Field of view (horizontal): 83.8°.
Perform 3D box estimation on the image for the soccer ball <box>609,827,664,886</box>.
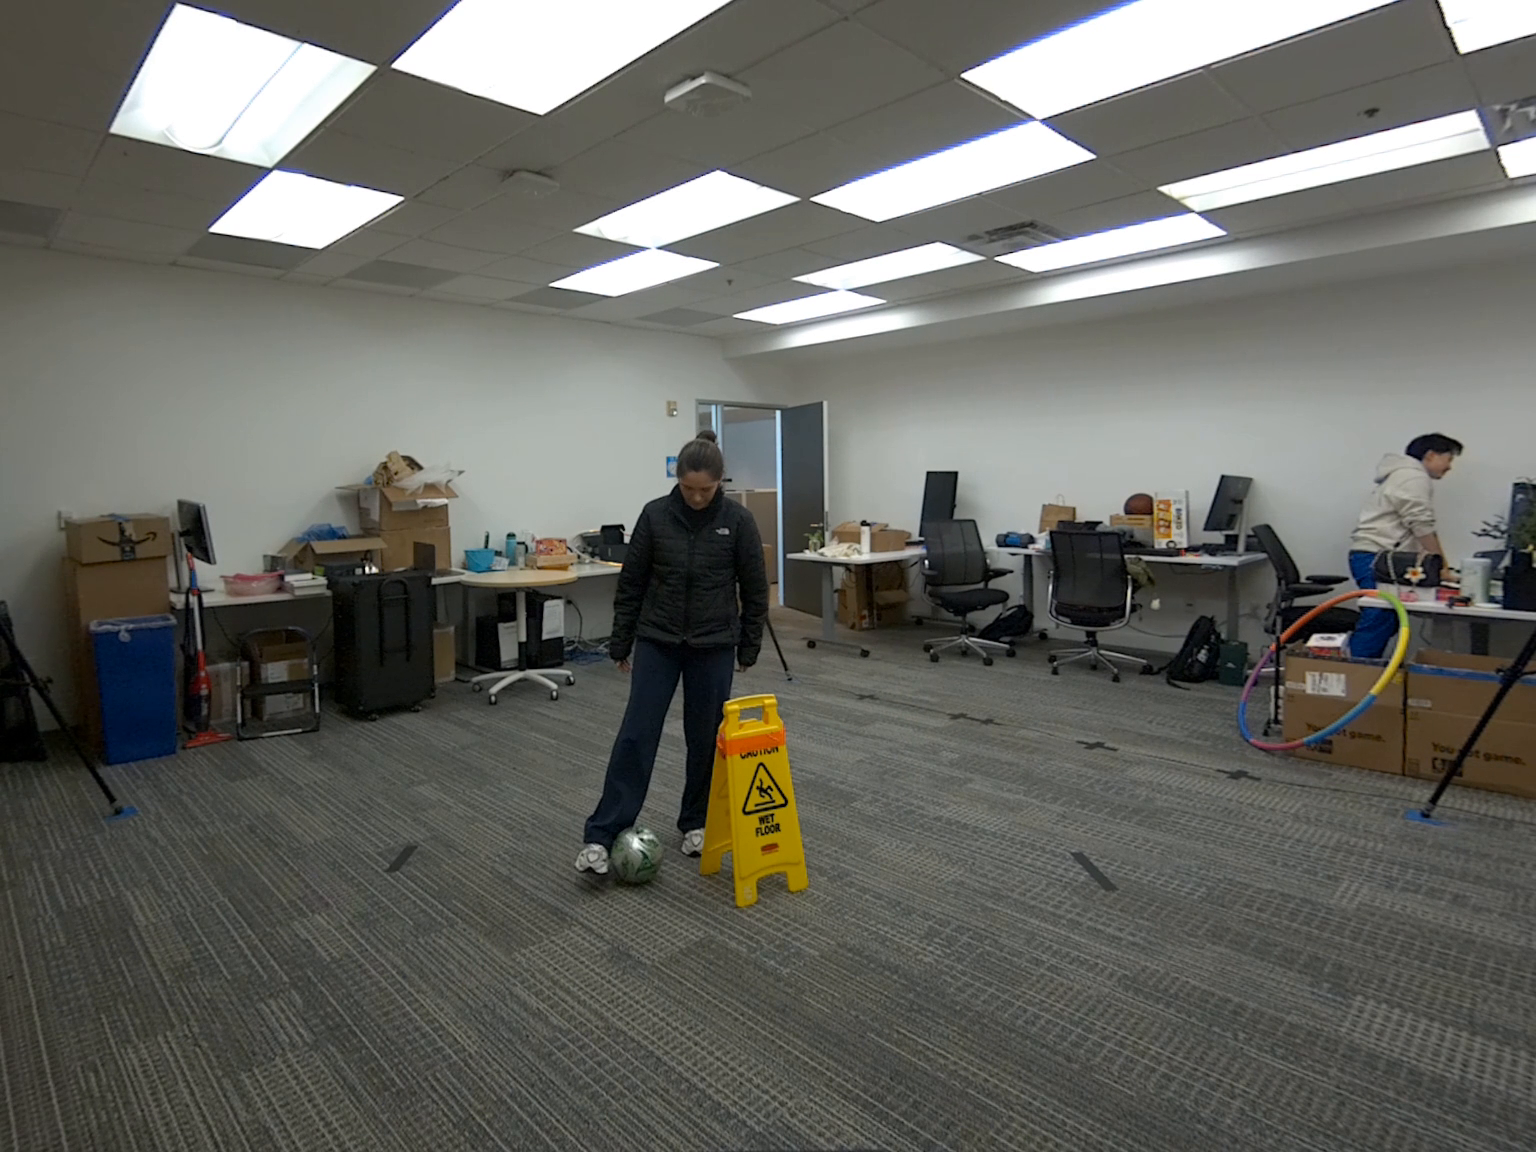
[{"bbox_3d":[-0.450,0.964,2.976,0.187,0.187,0.188,-1,5,-2],"label":"soccer ball"}]
